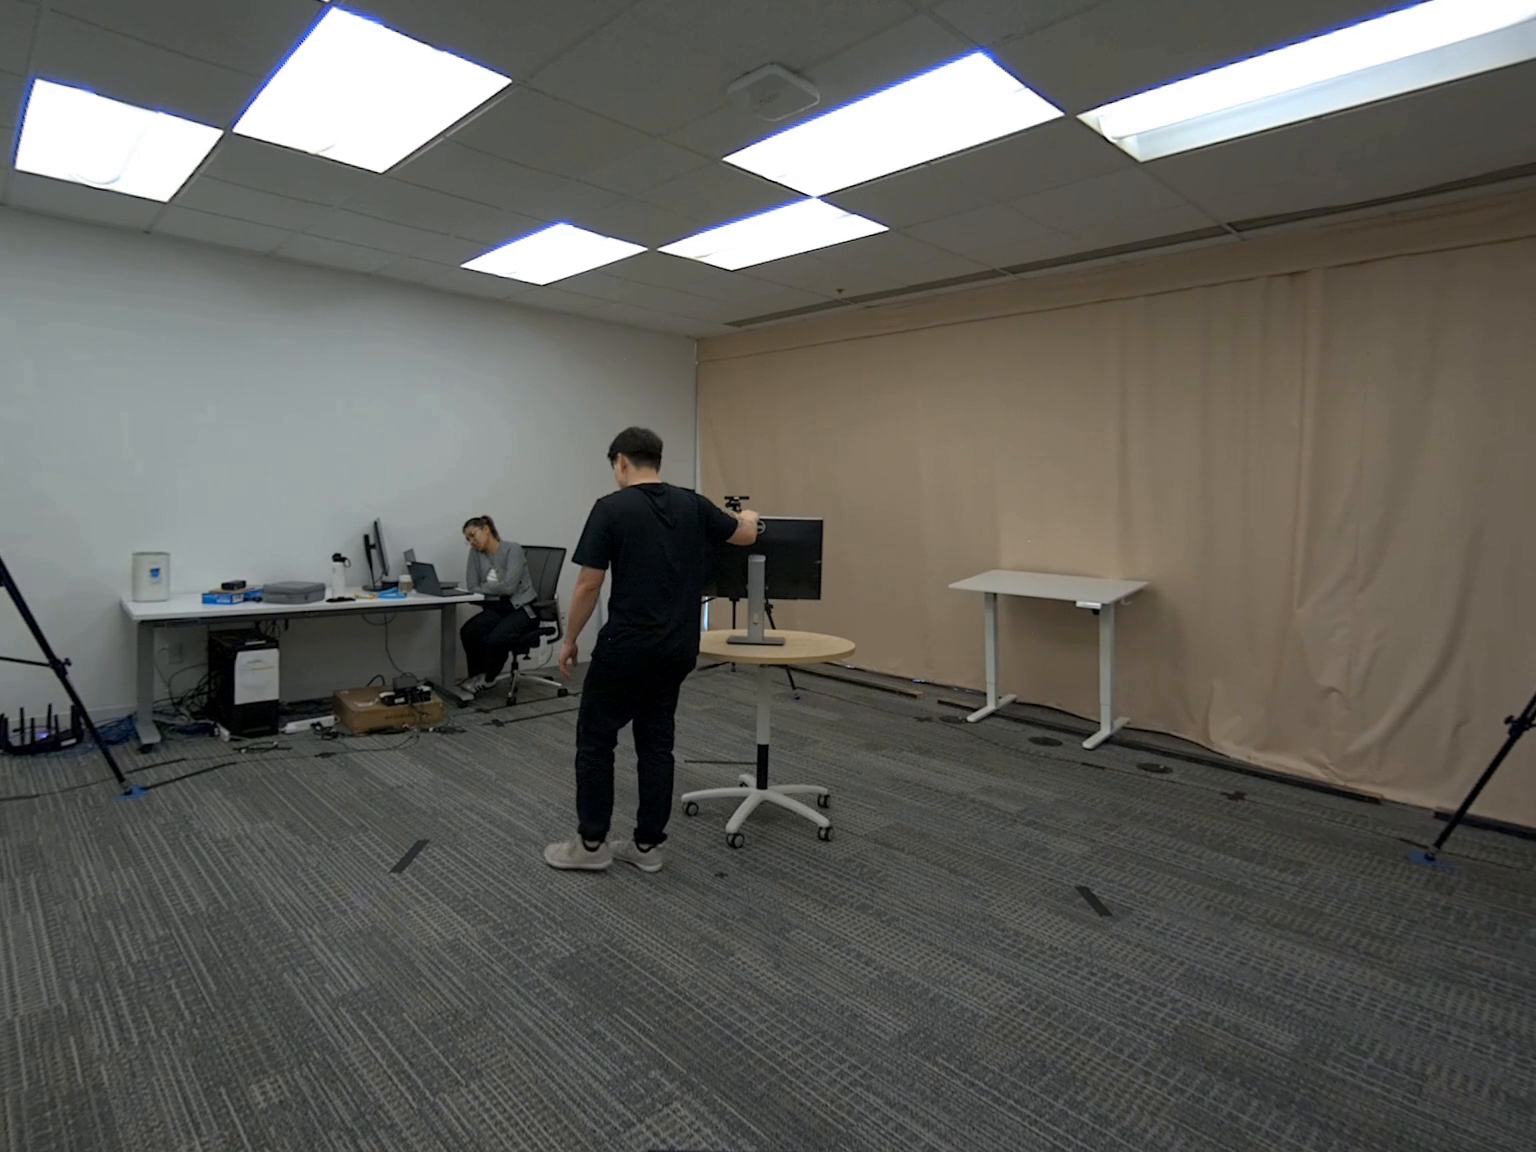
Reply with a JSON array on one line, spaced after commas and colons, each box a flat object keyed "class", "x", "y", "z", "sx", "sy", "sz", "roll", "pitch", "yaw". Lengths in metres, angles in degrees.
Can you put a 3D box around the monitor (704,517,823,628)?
[{"class": "monitor", "x": -0.047, "y": 0.021, "z": 3.607, "sx": 0.540, "sy": 0.522, "sz": 0.187, "roll": 2, "pitch": 1, "yaw": 2}]
